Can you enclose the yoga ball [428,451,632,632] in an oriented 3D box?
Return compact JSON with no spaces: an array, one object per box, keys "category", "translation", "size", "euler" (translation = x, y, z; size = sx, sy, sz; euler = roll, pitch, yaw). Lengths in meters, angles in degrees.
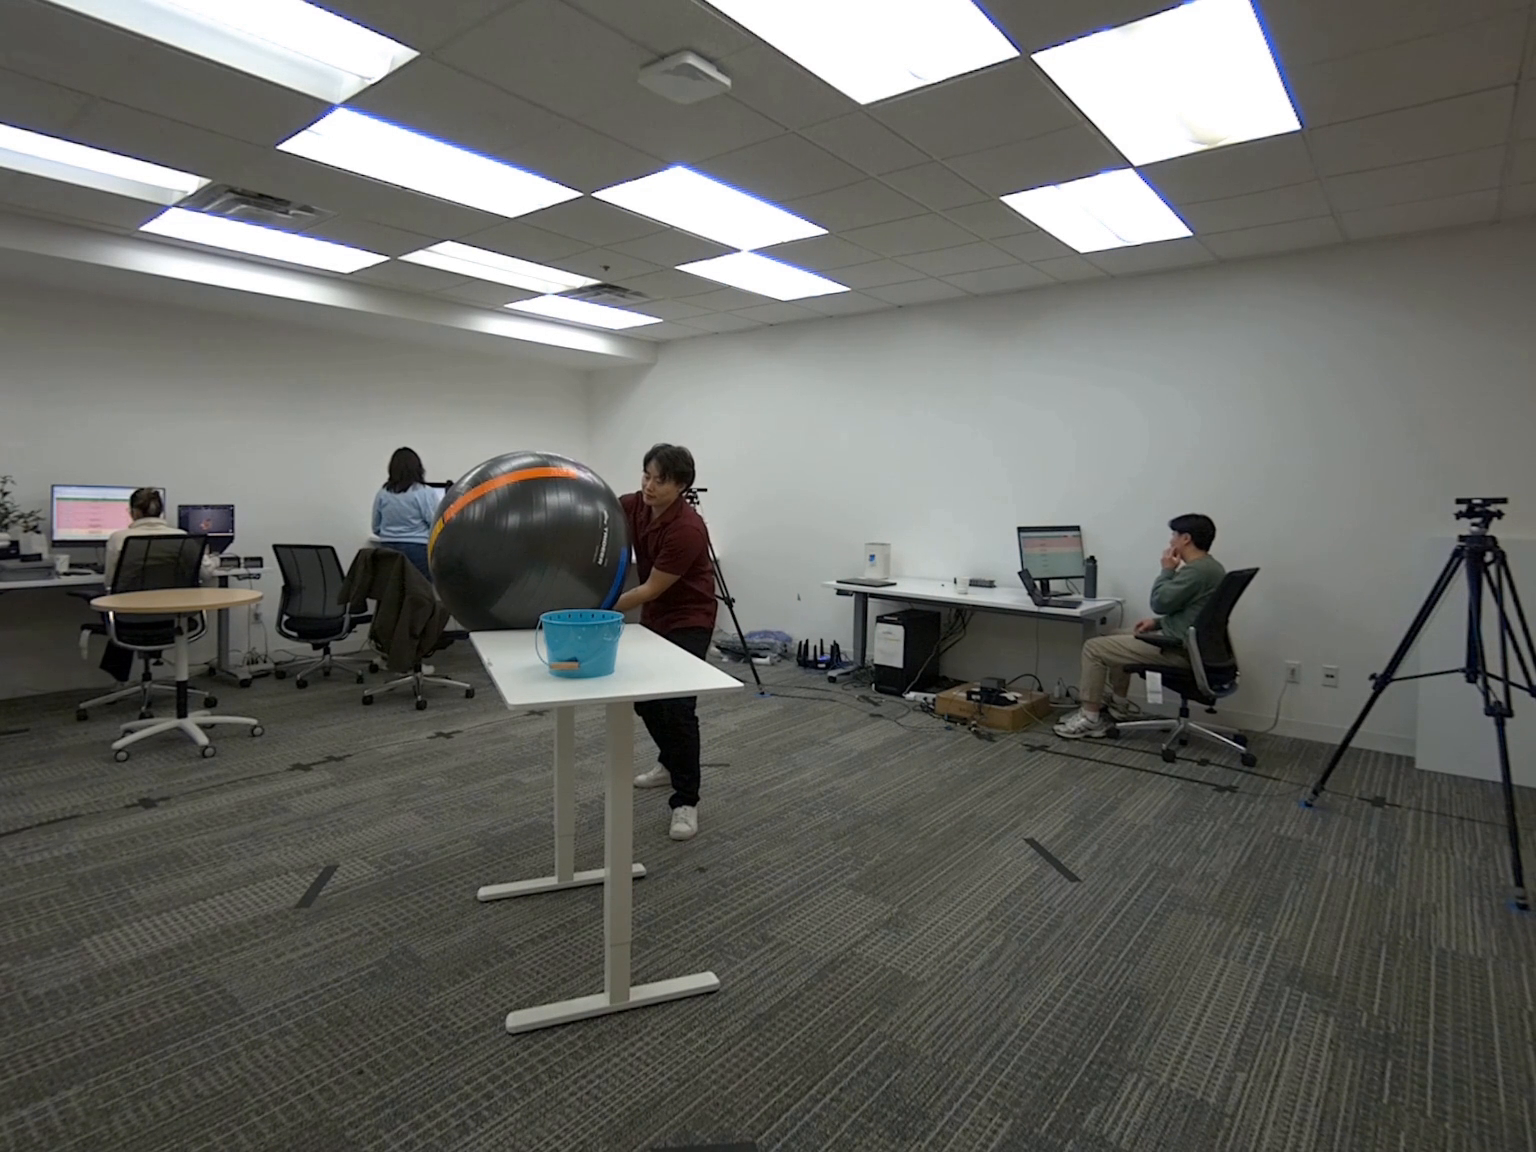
[{"category":"yoga ball","translation":[-0.917,-0.090,3.243],"size":[0.757,0.756,0.762],"euler":[1,4,-2]}]
